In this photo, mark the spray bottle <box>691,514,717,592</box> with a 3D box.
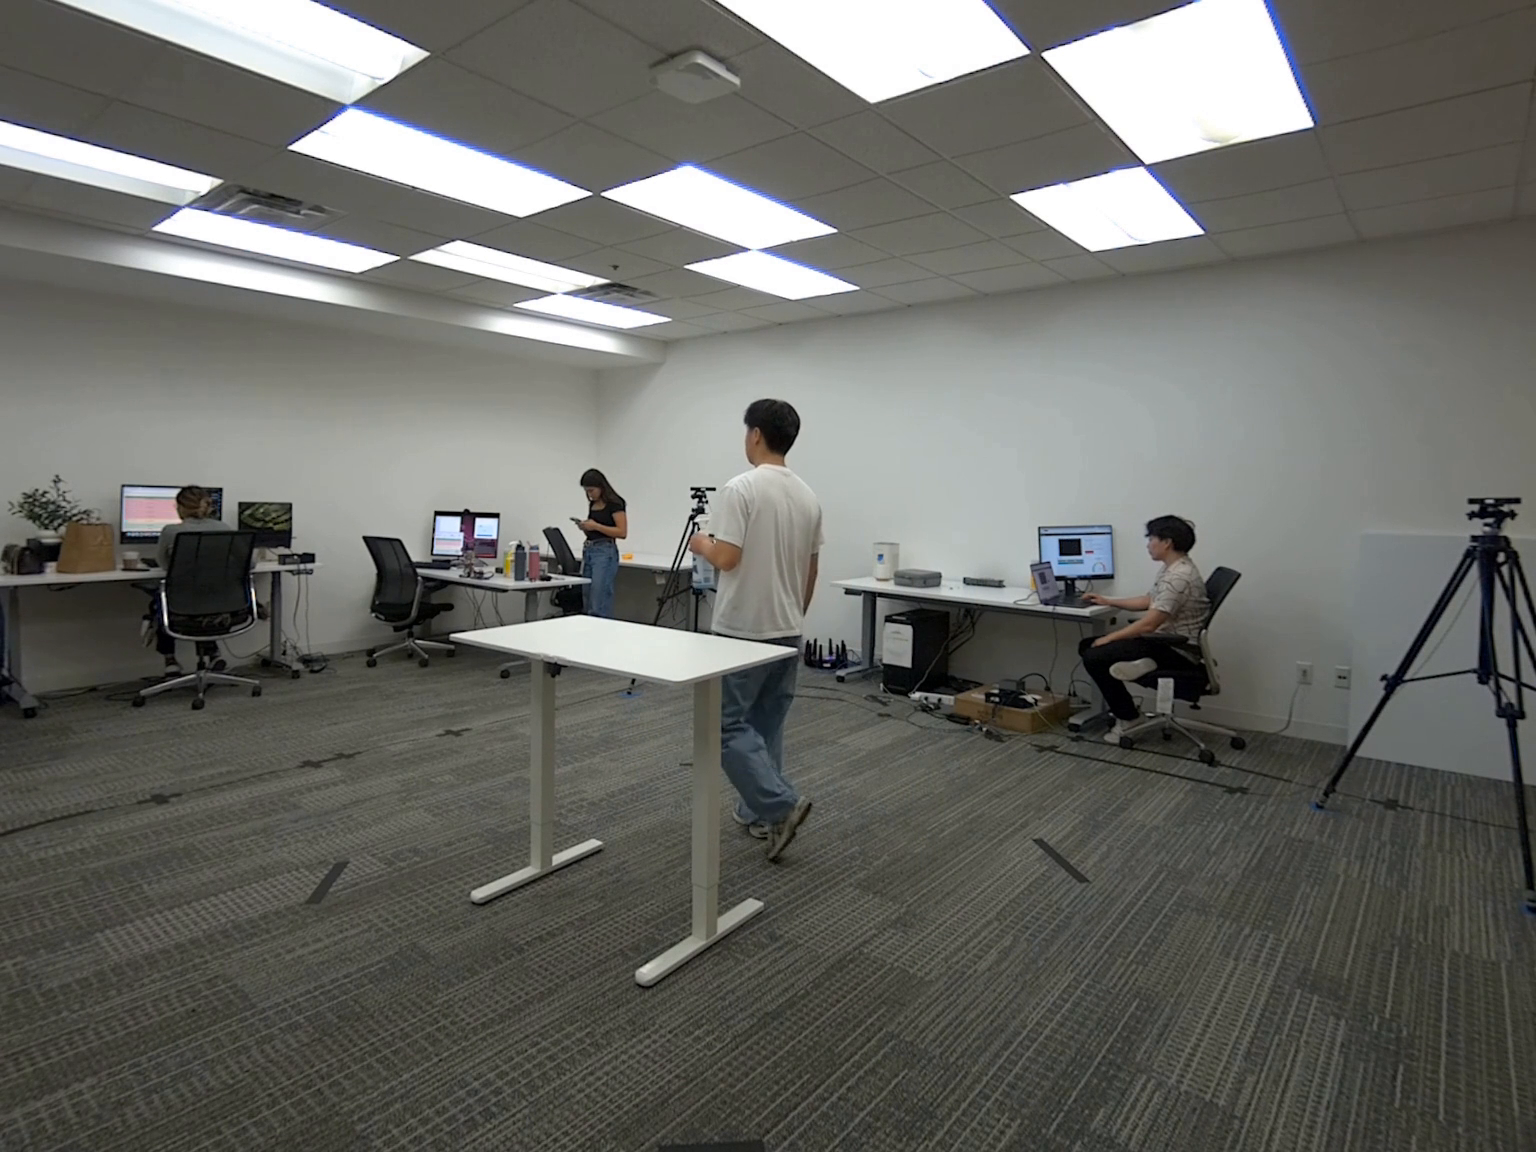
[{"bbox_3d":[-0.265,-0.102,3.431,0.093,0.296,0.084,3,4,37],"label":"spray bottle"}]
